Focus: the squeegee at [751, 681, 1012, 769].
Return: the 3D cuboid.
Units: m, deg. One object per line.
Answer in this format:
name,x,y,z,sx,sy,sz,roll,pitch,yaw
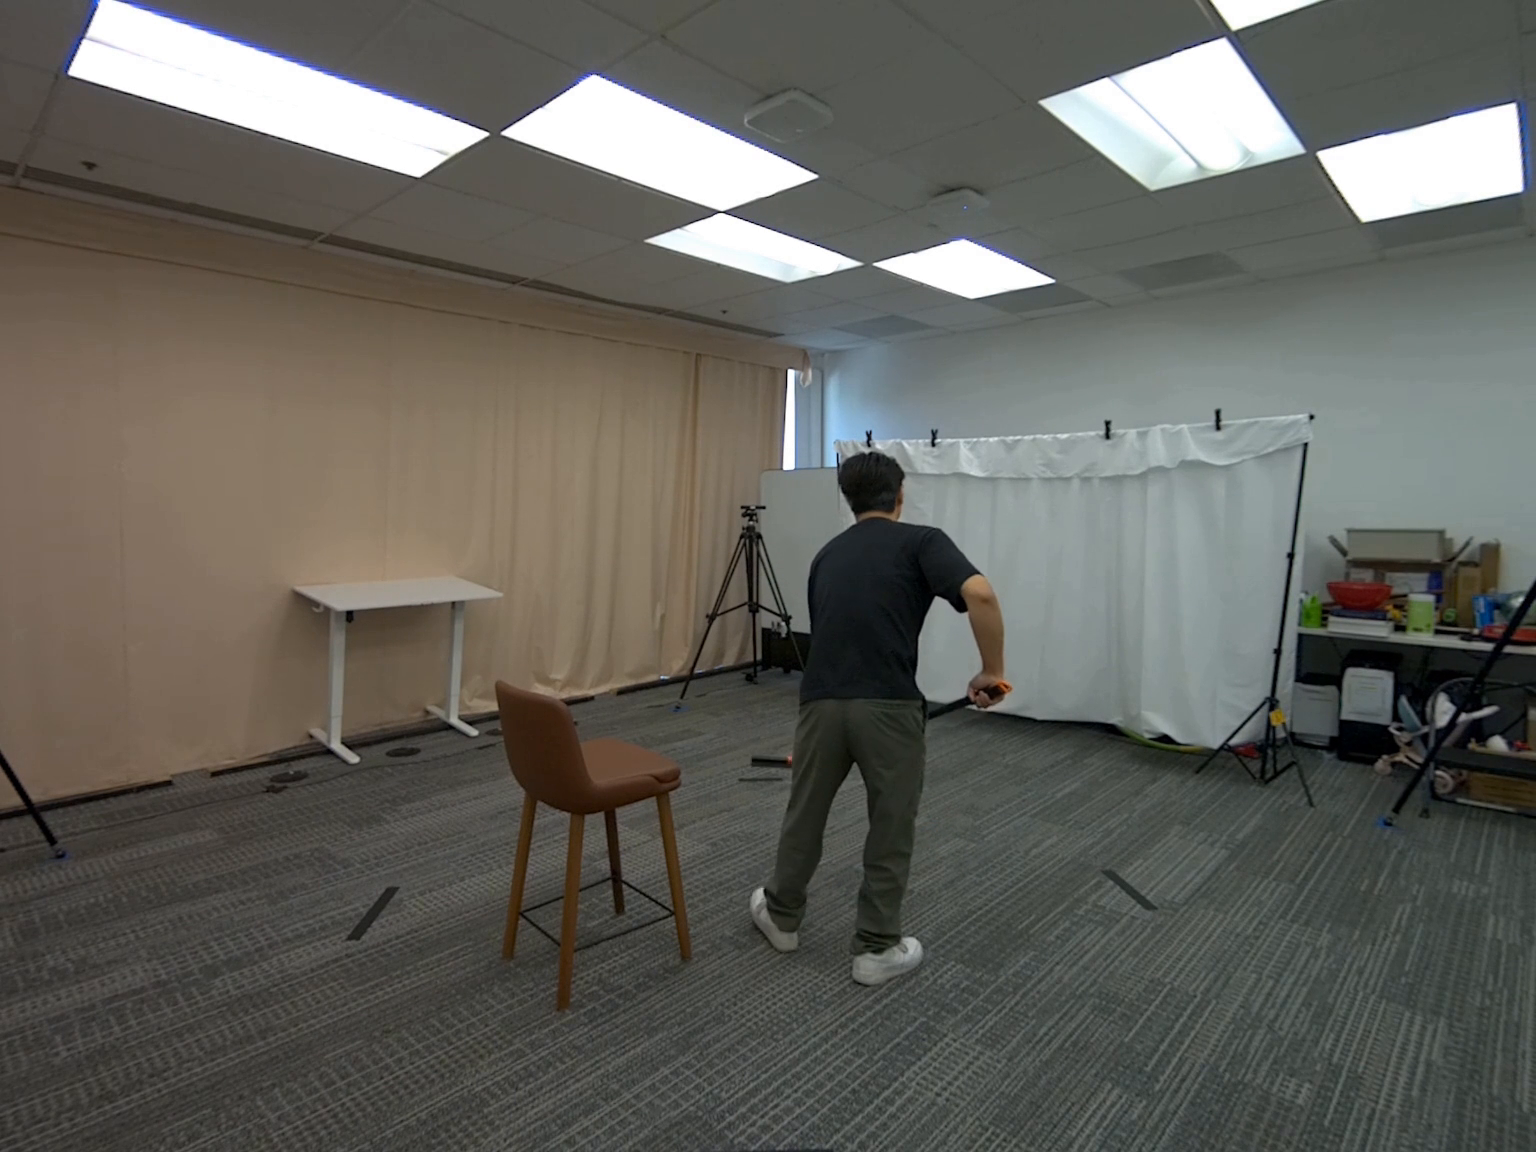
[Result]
squeegee,0.363,0.540,2.903,0.429,0.053,1.550,13,-24,-18
